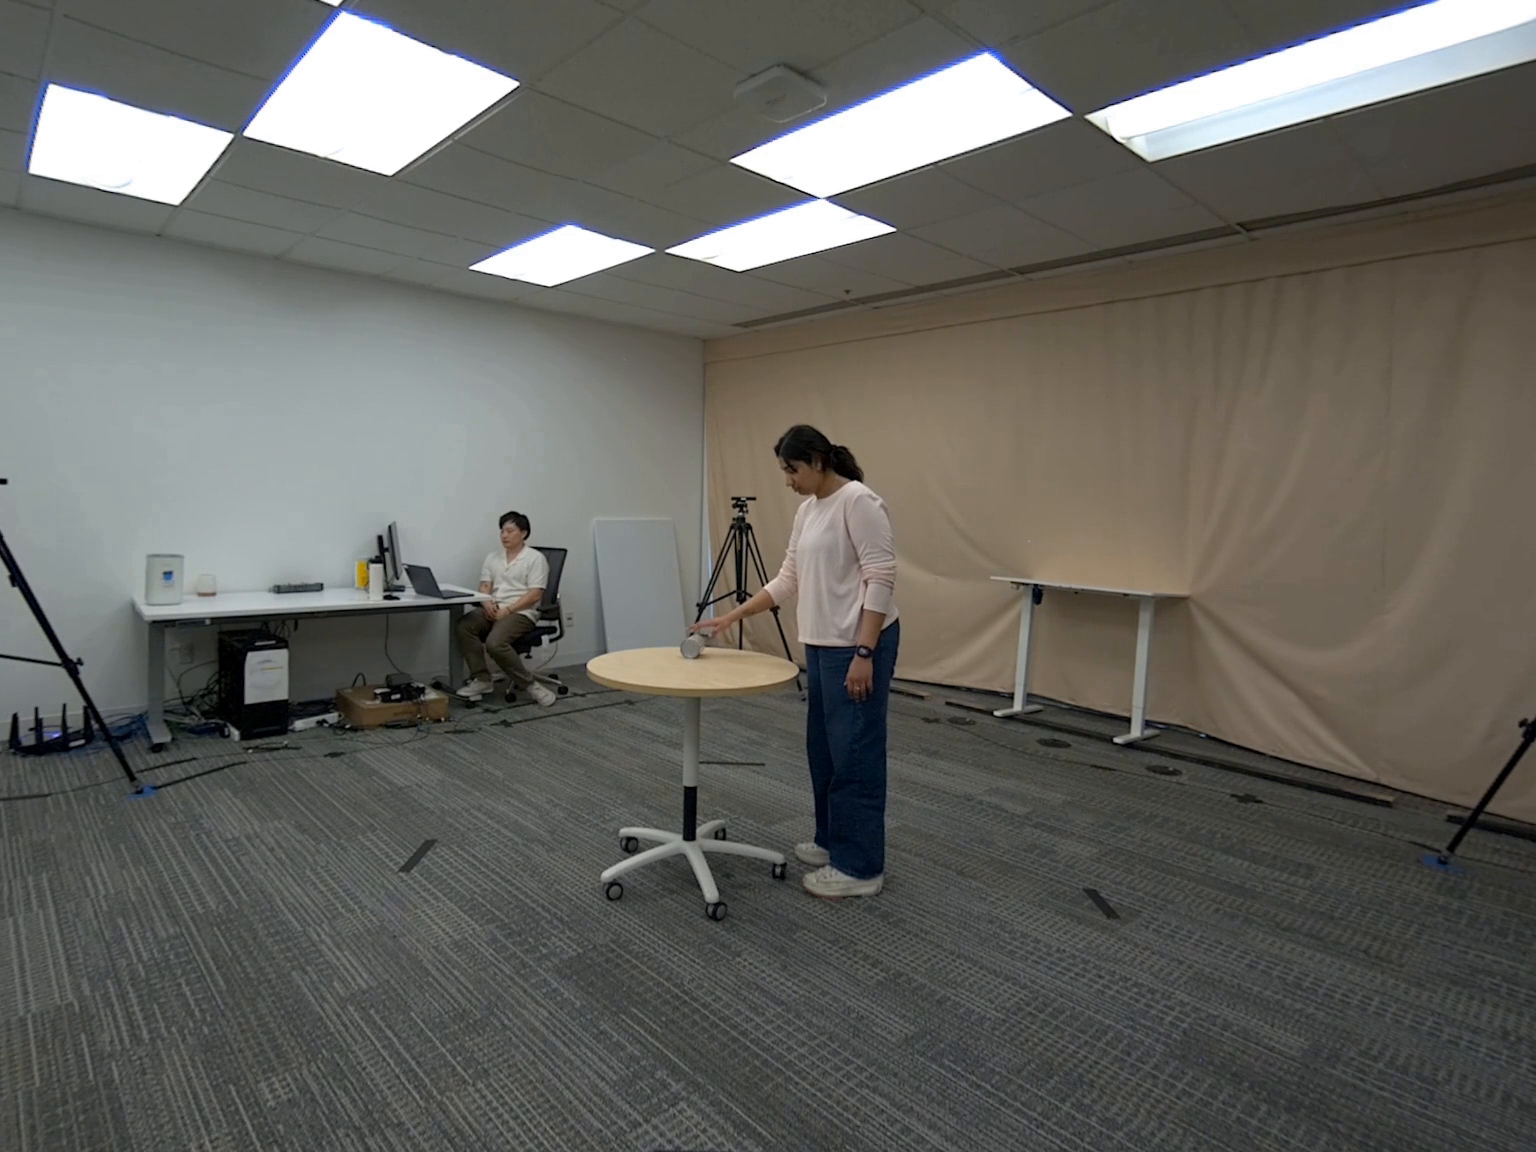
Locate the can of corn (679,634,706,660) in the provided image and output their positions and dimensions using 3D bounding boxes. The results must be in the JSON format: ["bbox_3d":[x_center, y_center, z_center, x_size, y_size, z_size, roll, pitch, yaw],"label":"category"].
[{"bbox_3d":[-0.284,0.268,3.223,0.075,0.074,0.110,2,6,8],"label":"can of corn"}]
